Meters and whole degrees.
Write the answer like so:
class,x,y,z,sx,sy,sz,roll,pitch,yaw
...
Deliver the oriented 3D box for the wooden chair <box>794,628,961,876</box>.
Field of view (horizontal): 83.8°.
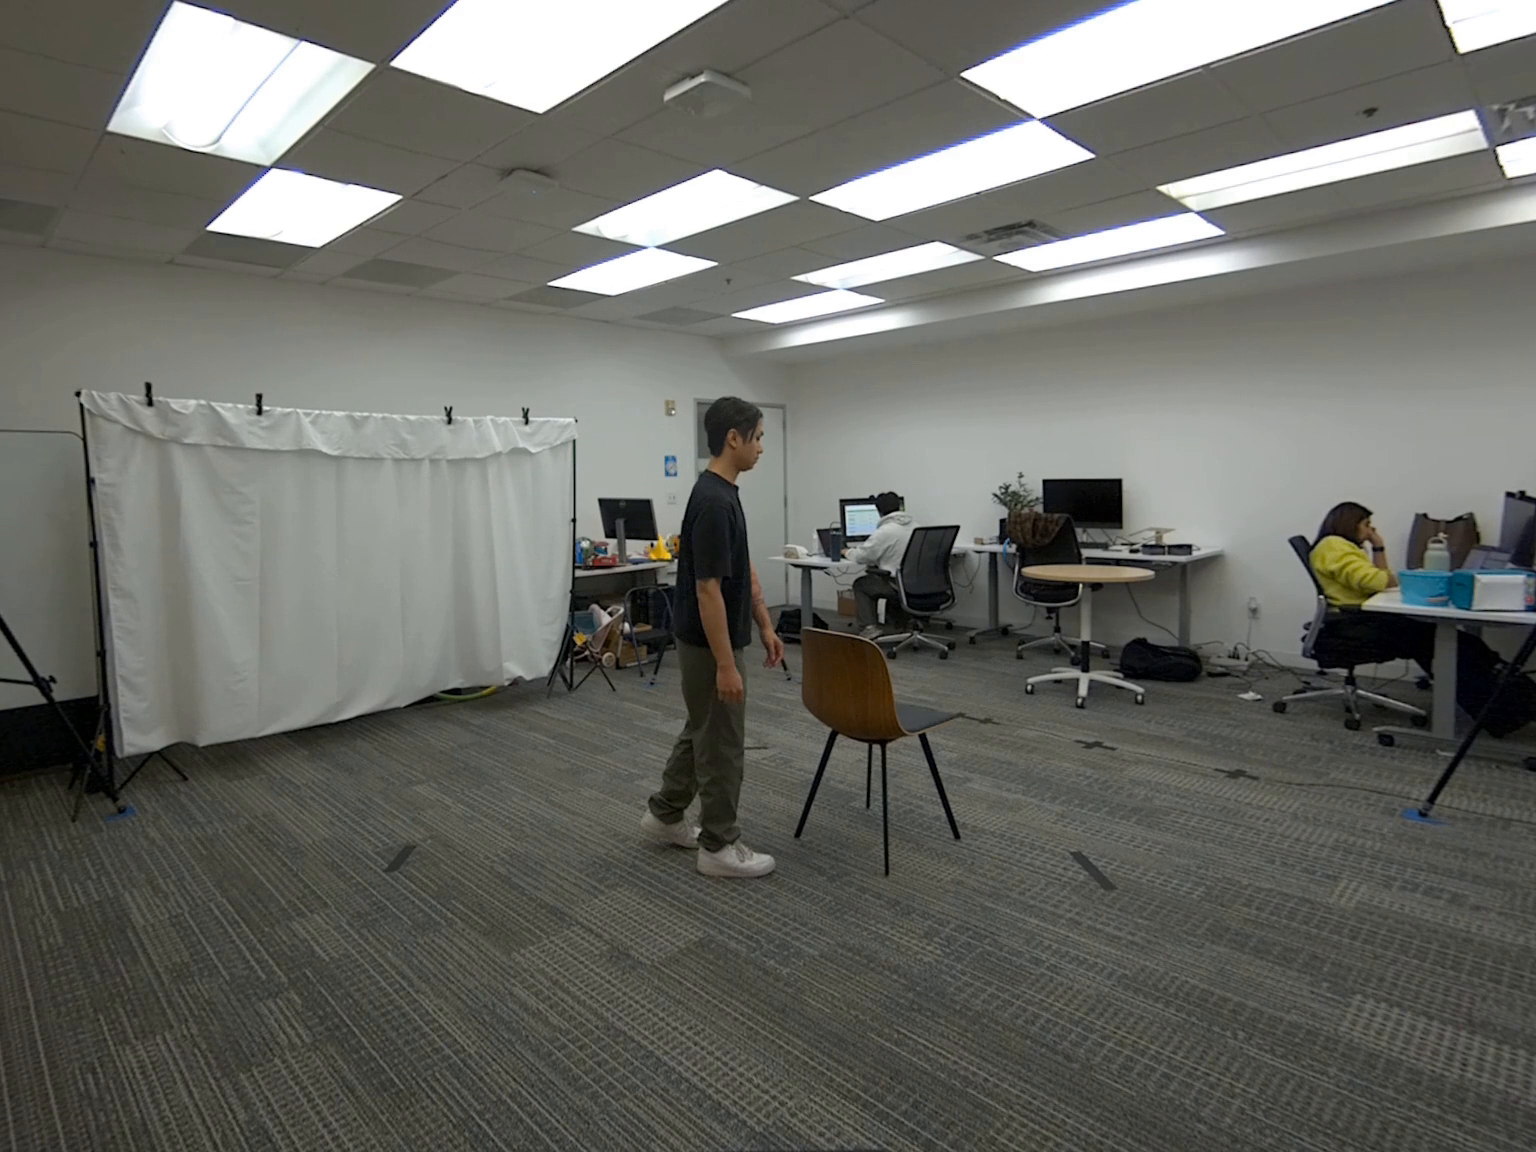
class,x,y,z,sx,sy,sz,roll,pitch,yaw
wooden chair,0.420,0.587,3.276,0.511,0.872,0.493,-11,9,-43
